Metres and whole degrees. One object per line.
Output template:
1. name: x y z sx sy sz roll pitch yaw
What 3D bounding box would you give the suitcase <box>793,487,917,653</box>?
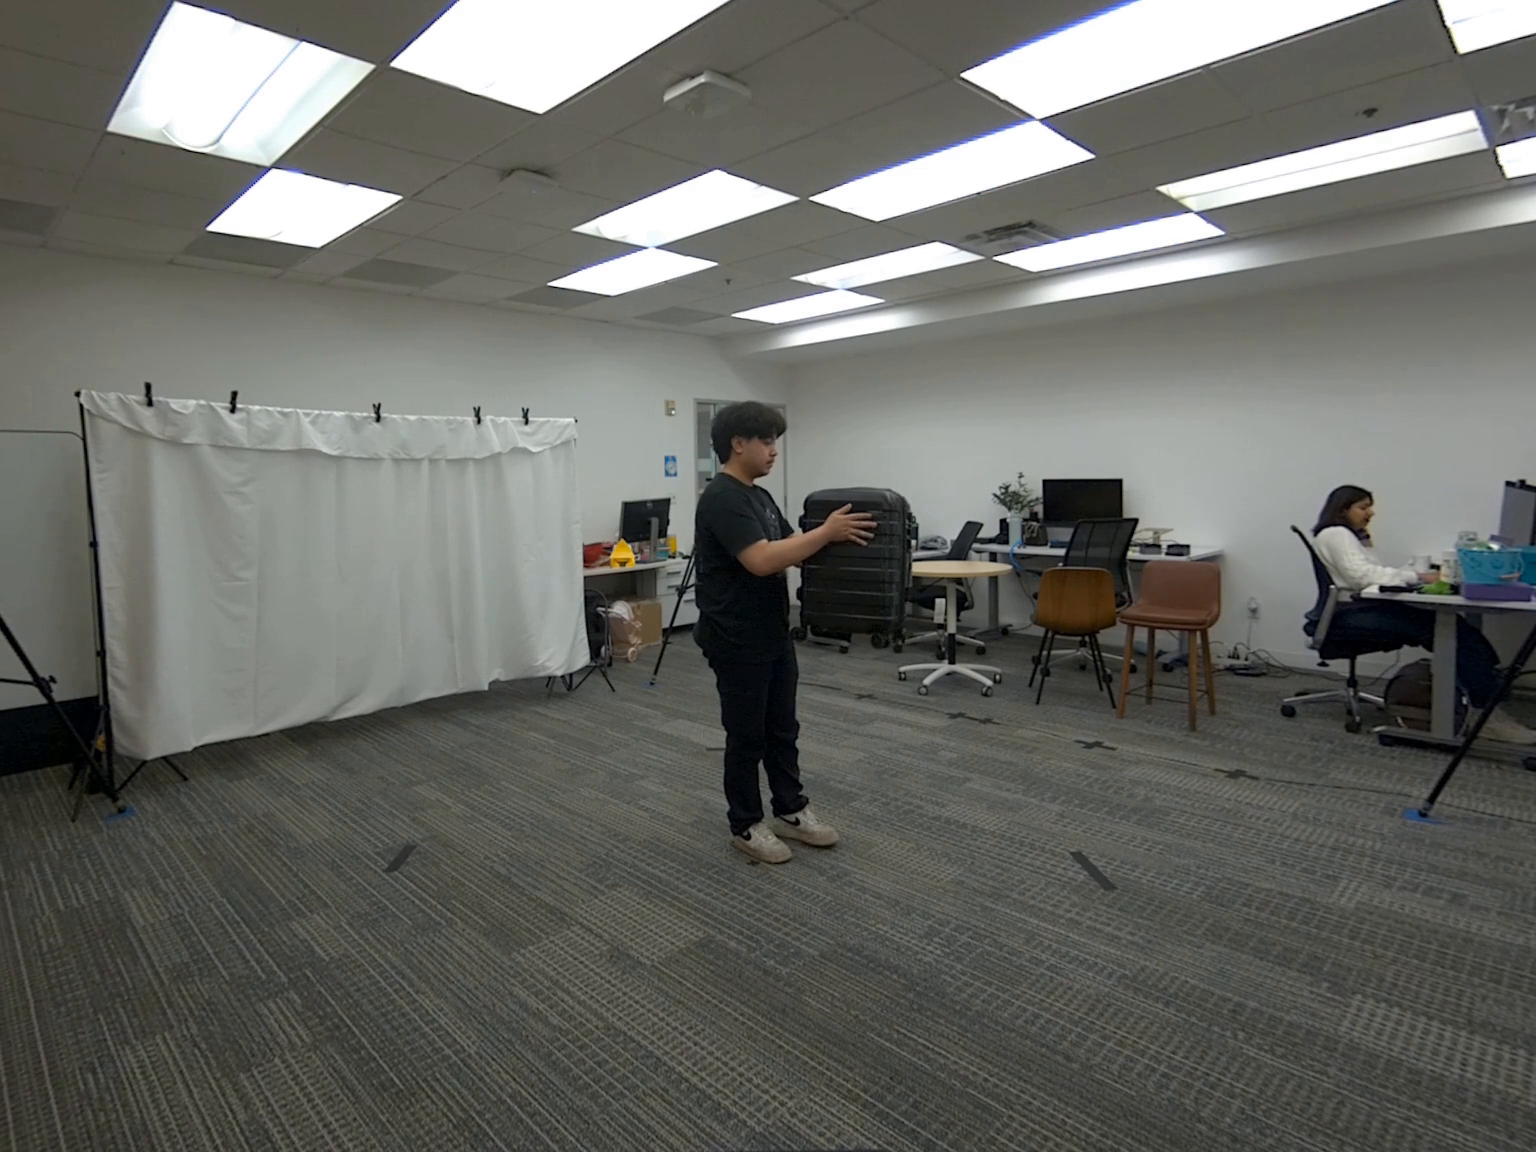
1. suitcase: 0.308 -0.038 3.032 0.384 0.549 0.243 3 1 25
